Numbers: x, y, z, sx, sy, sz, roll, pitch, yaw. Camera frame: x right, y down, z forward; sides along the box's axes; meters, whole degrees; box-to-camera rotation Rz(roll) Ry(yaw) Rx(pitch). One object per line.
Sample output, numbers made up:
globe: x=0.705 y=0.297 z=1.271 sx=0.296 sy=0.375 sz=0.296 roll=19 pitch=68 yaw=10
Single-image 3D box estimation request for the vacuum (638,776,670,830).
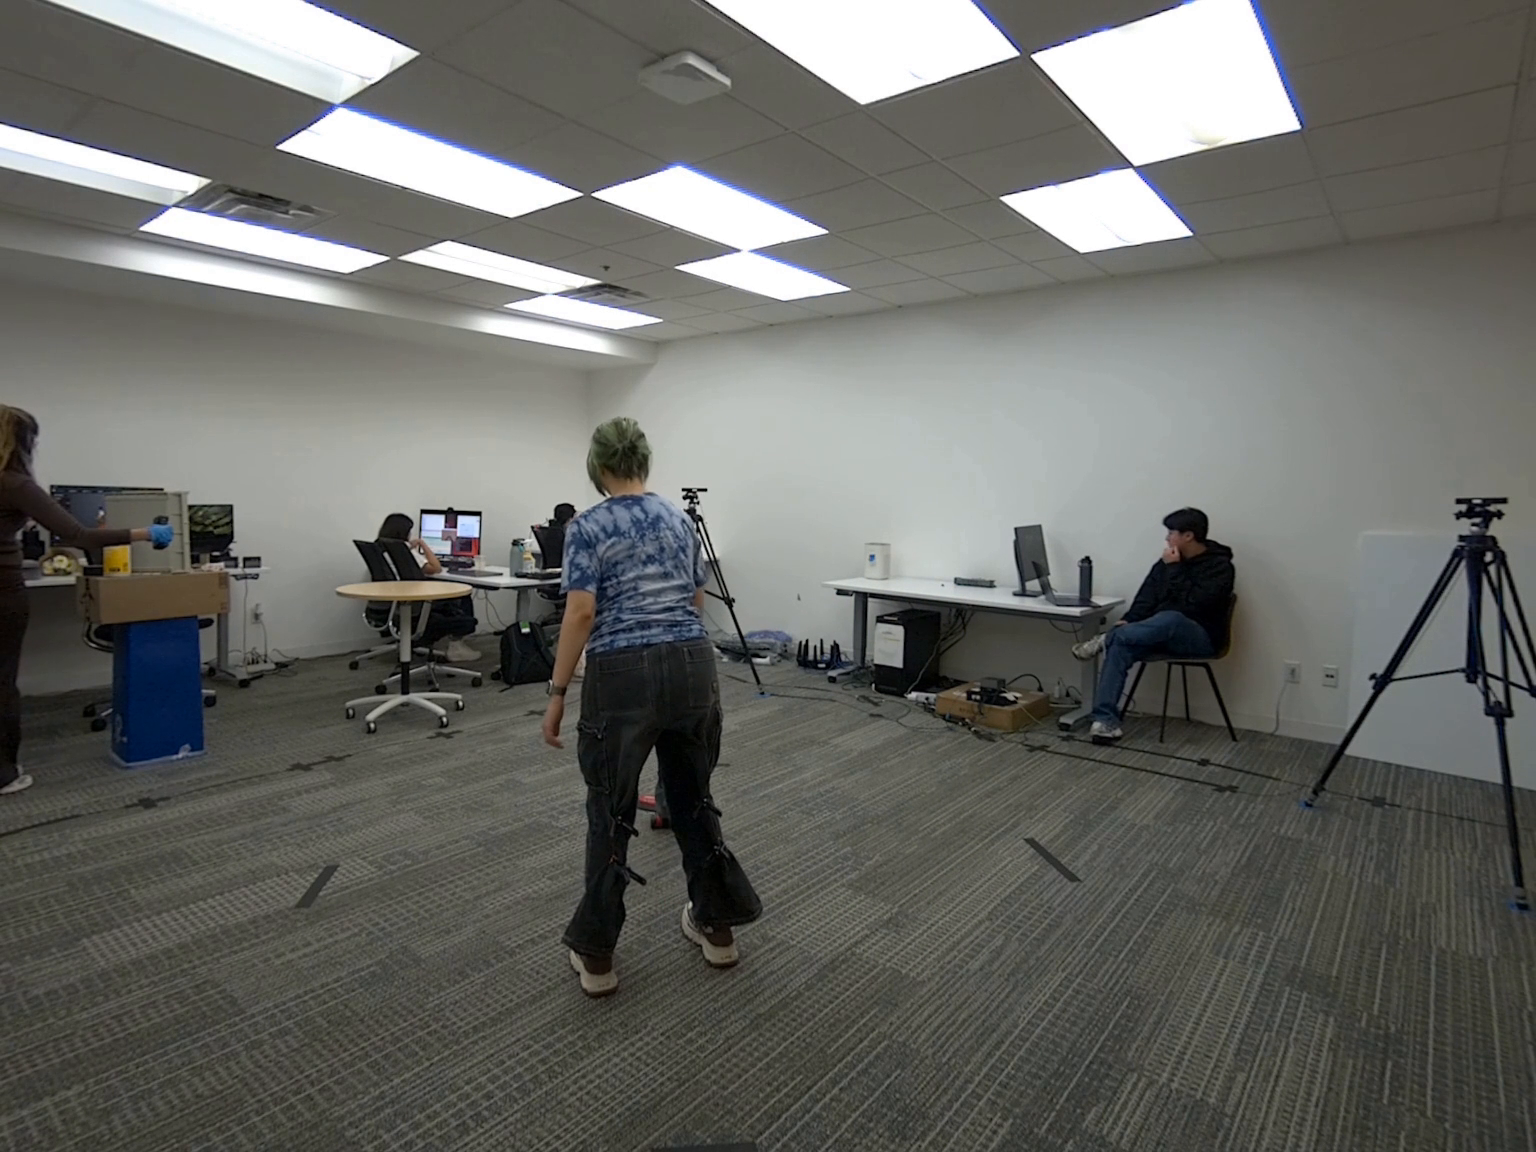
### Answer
vacuum: x=-0.374 y=0.705 z=3.119 sx=0.251 sy=0.148 sz=1.026 roll=0 pitch=-33 yaw=-7
